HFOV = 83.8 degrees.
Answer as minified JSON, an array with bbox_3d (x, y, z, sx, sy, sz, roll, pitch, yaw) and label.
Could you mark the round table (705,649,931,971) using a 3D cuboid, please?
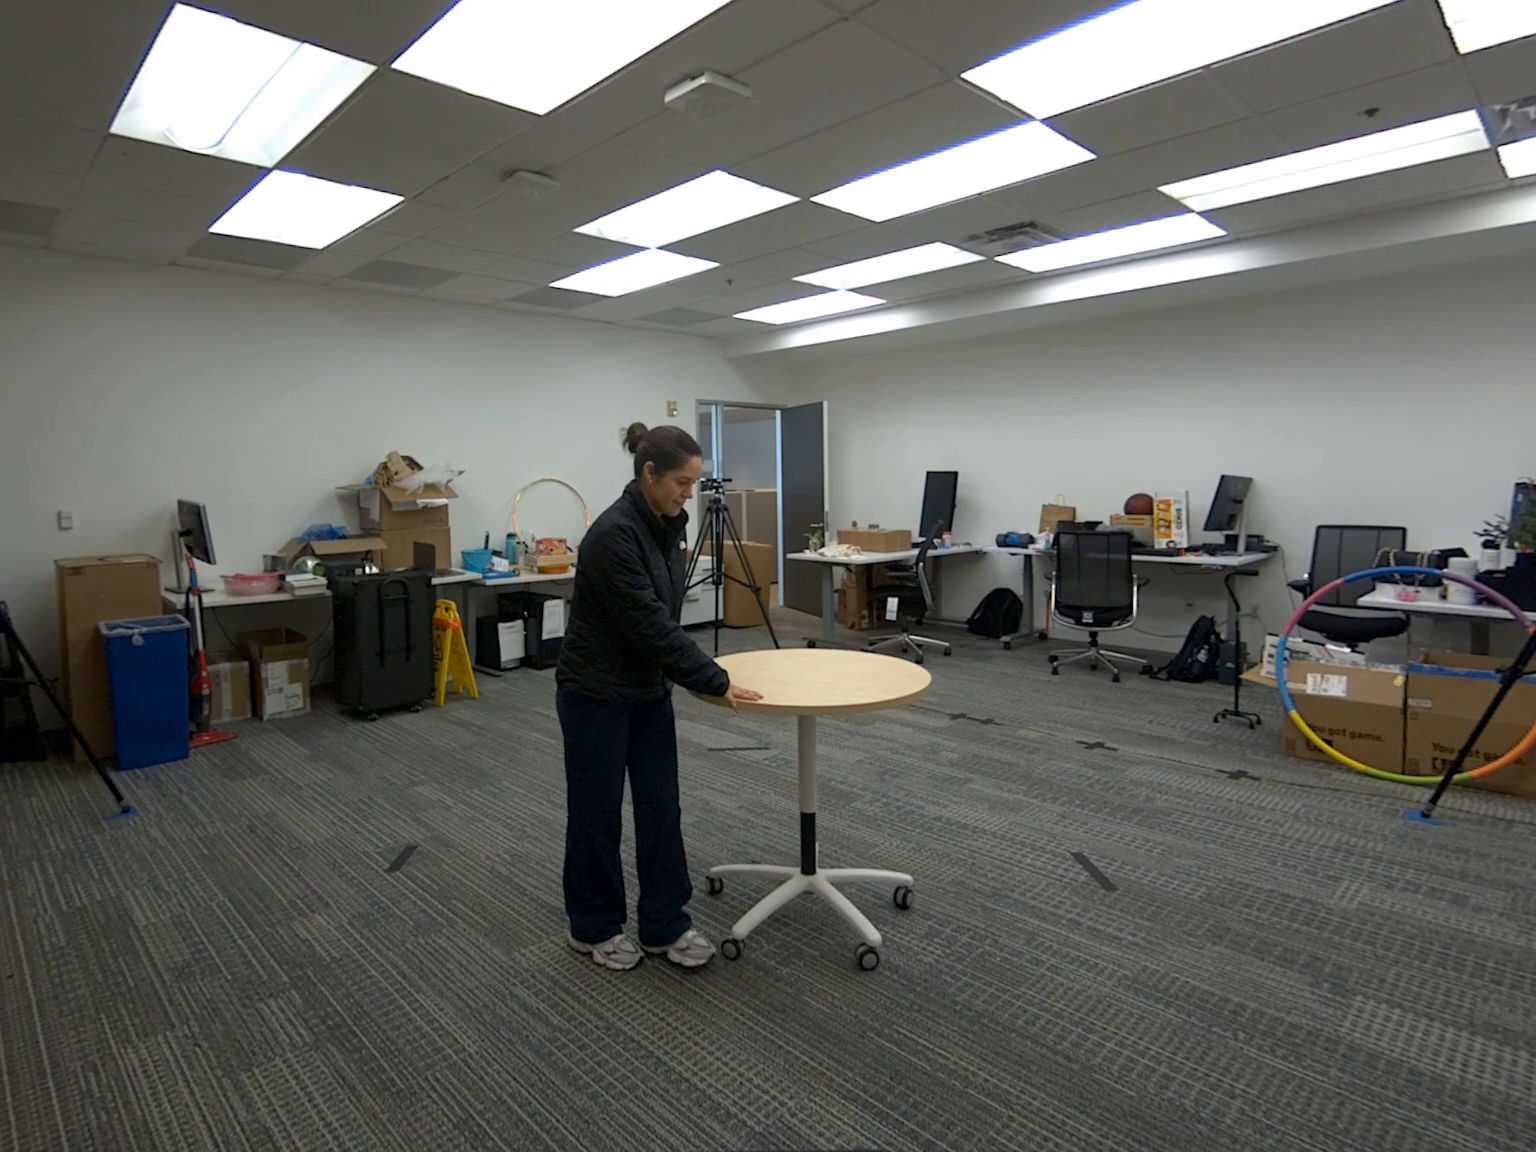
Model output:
[{"bbox_3d":[0.115,0.693,2.714,0.784,0.783,0.789,-2,5,-2],"label":"round table"}]
